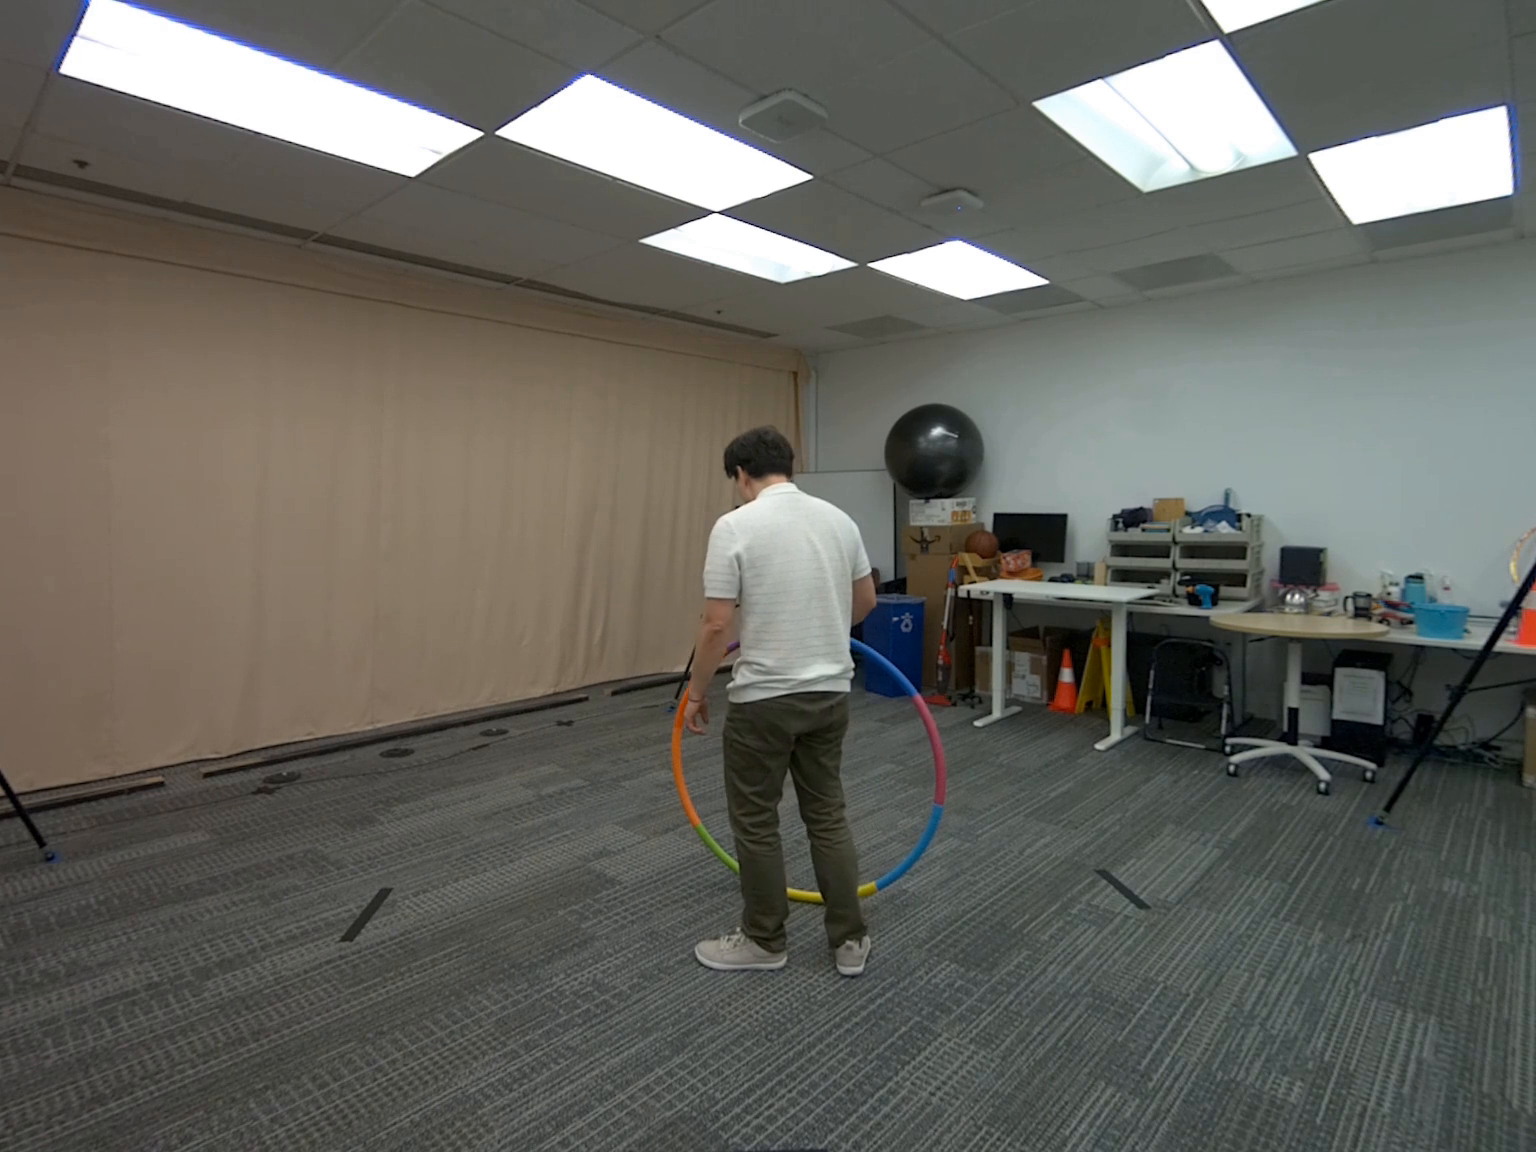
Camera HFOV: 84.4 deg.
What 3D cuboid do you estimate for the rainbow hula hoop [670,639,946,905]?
[{"bbox_3d":[0.117,0.664,2.973,1.001,0.979,0.035,1,0,22],"label":"rainbow hula hoop"}]
